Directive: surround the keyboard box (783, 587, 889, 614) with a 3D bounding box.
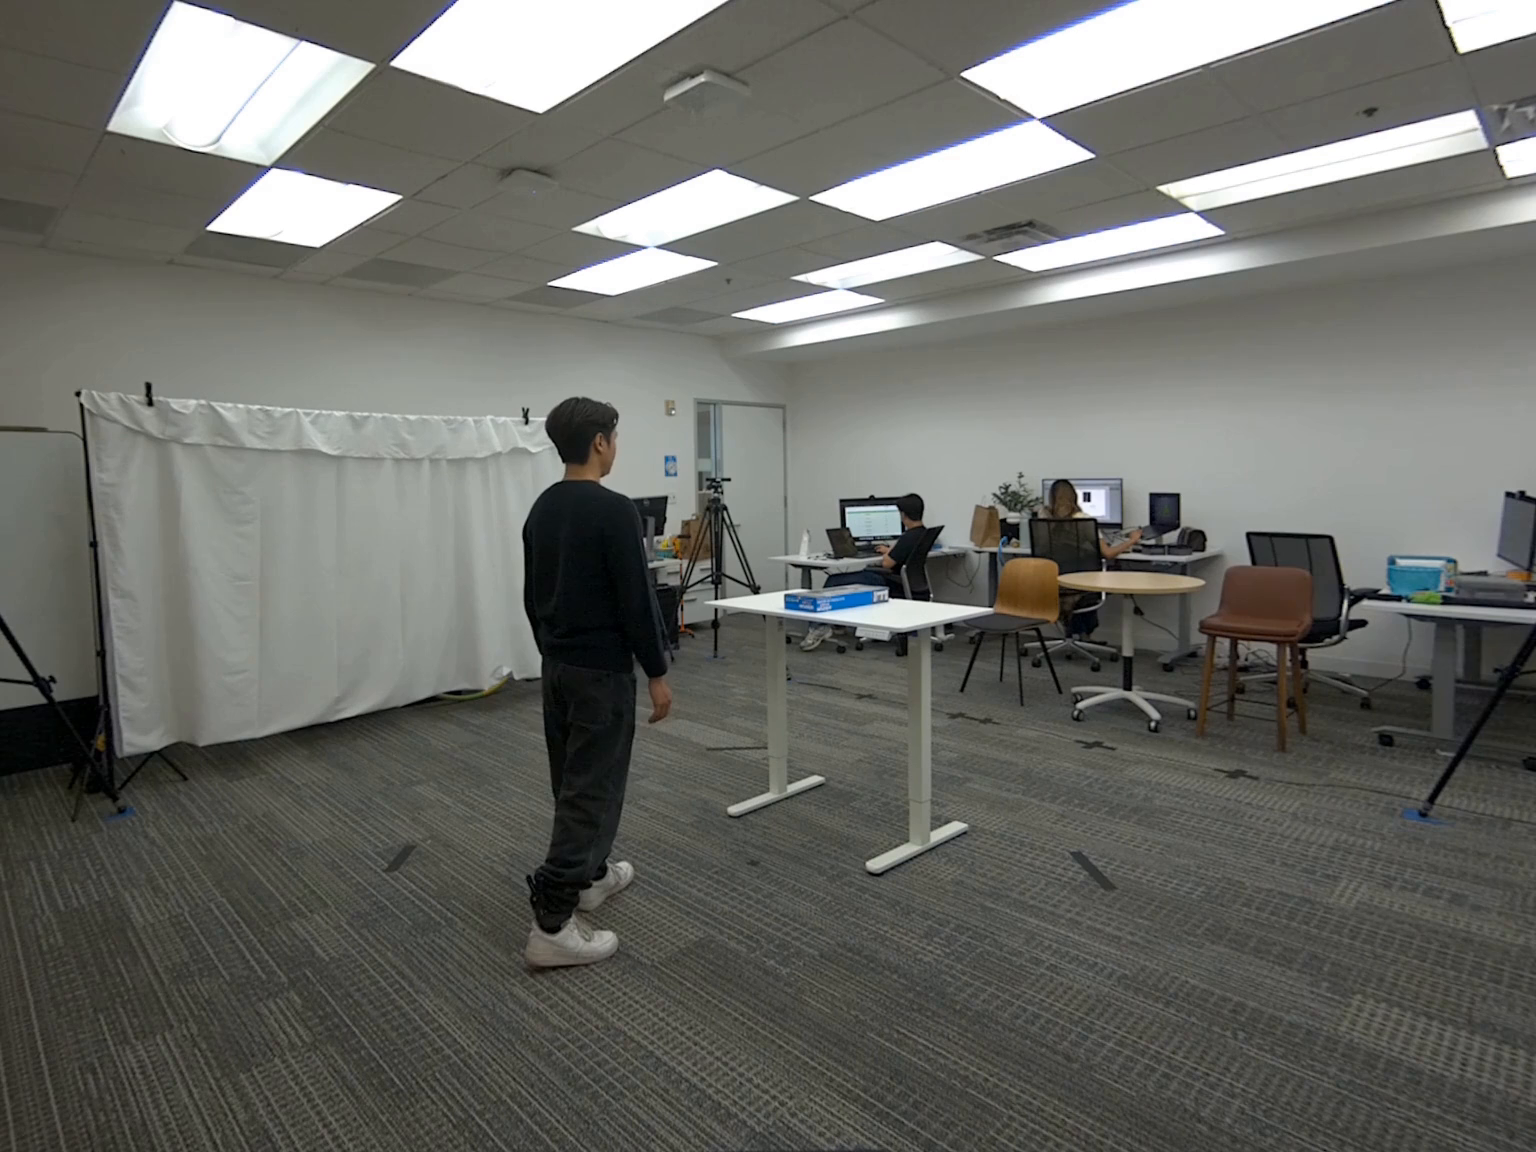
[{"bbox_3d":[0.286,0.089,3.422,0.425,0.059,0.181,-6,8,-42],"label":"keyboard box"}]
